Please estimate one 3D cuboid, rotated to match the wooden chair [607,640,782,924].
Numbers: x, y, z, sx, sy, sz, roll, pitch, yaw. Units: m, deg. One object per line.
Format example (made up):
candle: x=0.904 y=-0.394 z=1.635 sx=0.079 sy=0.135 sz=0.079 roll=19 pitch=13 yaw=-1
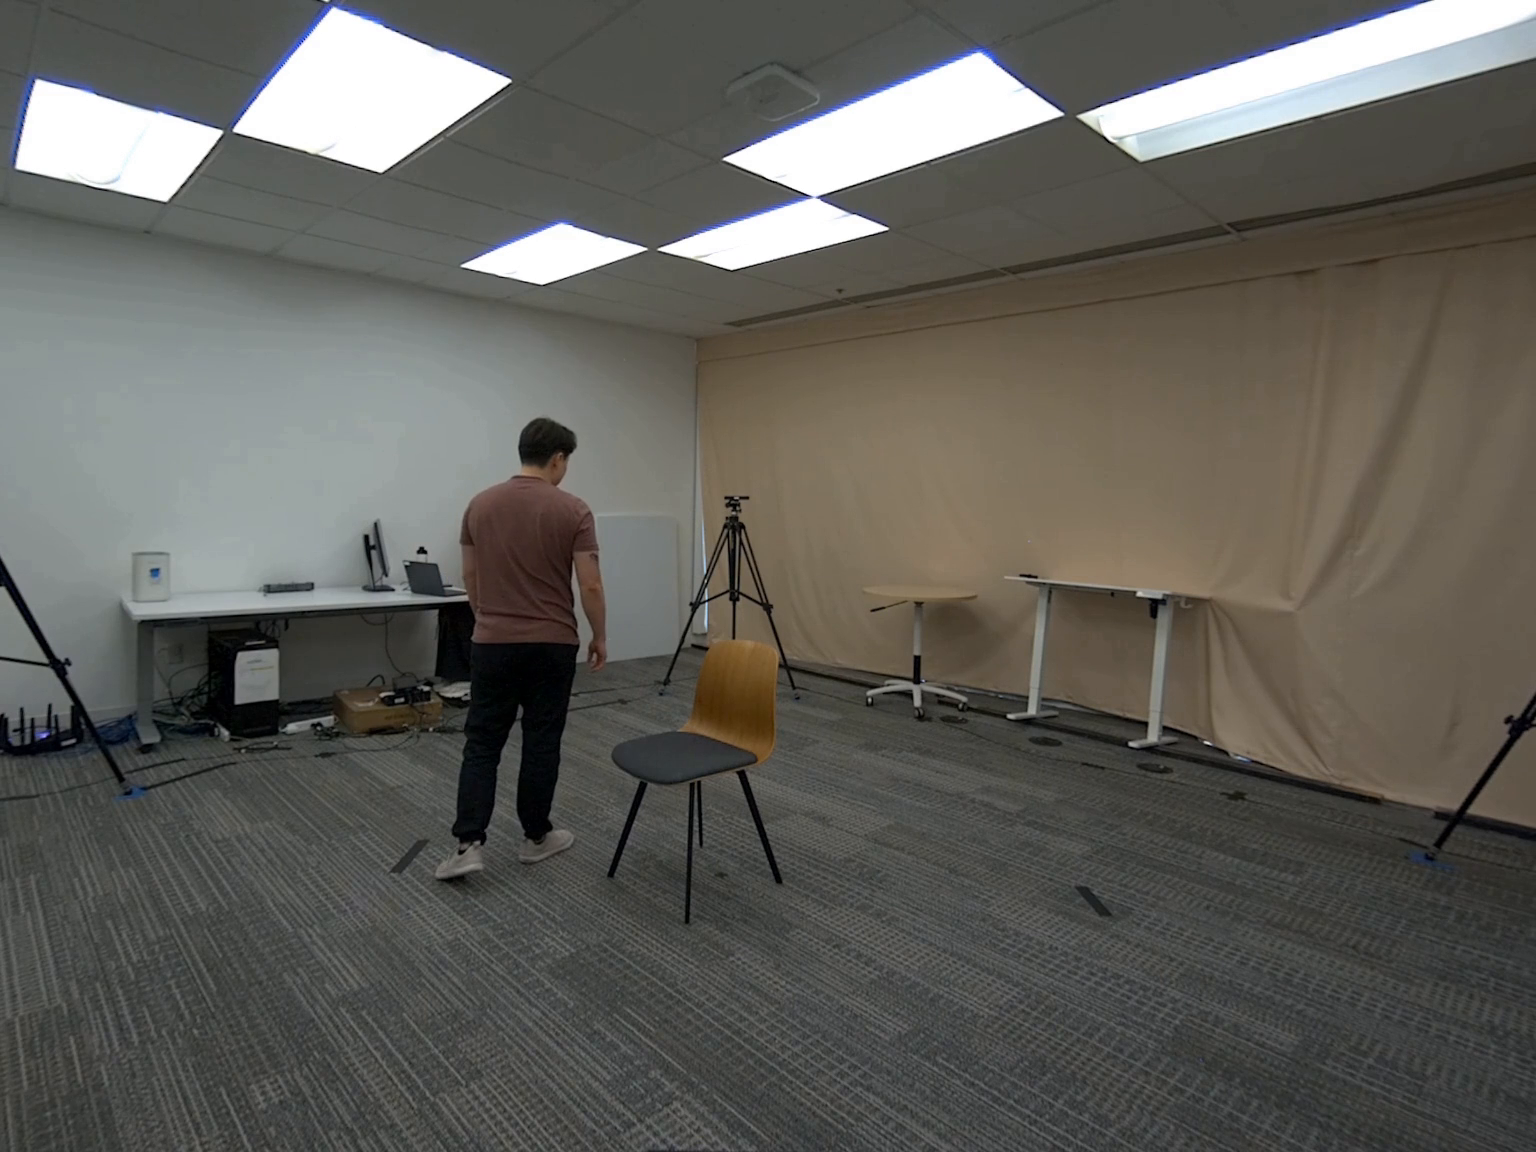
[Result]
wooden chair: x=-0.267 y=0.682 z=3.014 sx=0.510 sy=0.877 sz=0.490 roll=4 pitch=1 yaw=-45
